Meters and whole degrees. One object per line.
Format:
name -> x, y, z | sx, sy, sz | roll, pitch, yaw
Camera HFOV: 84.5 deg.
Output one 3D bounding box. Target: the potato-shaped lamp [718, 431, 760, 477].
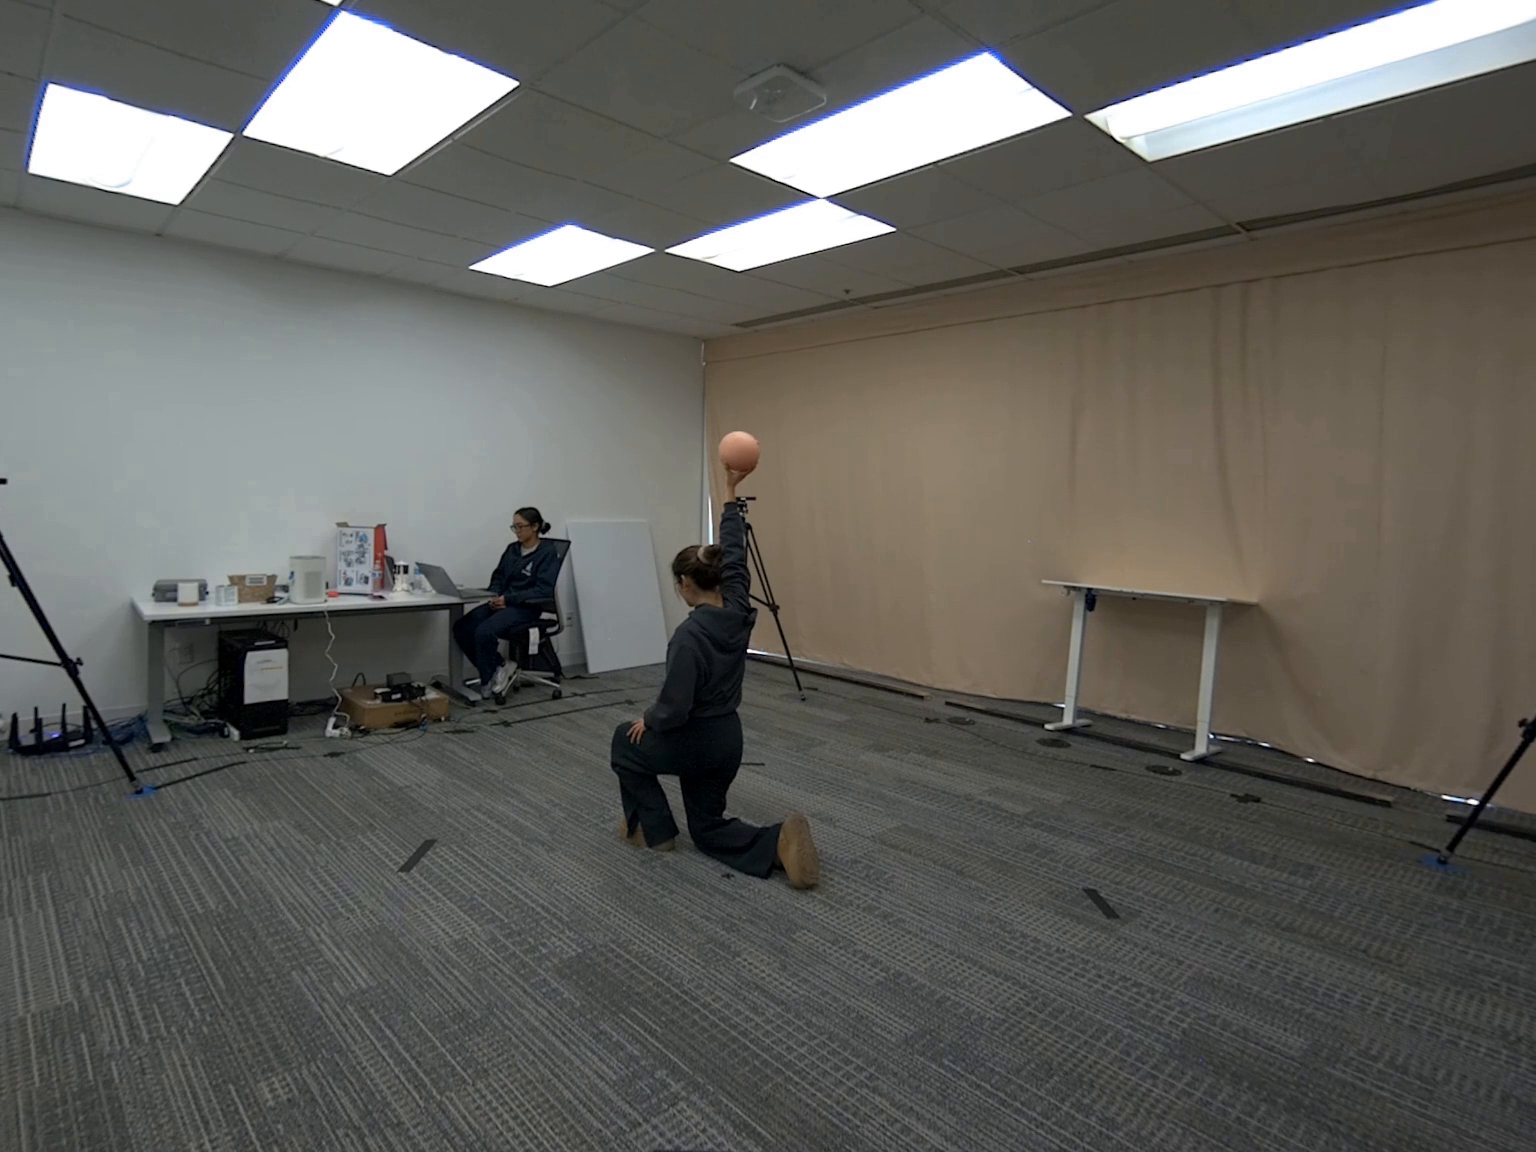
potato-shaped lamp -> -0.118, -0.509, 3.456 | 0.167, 0.164, 0.203 | 18, 8, -26
